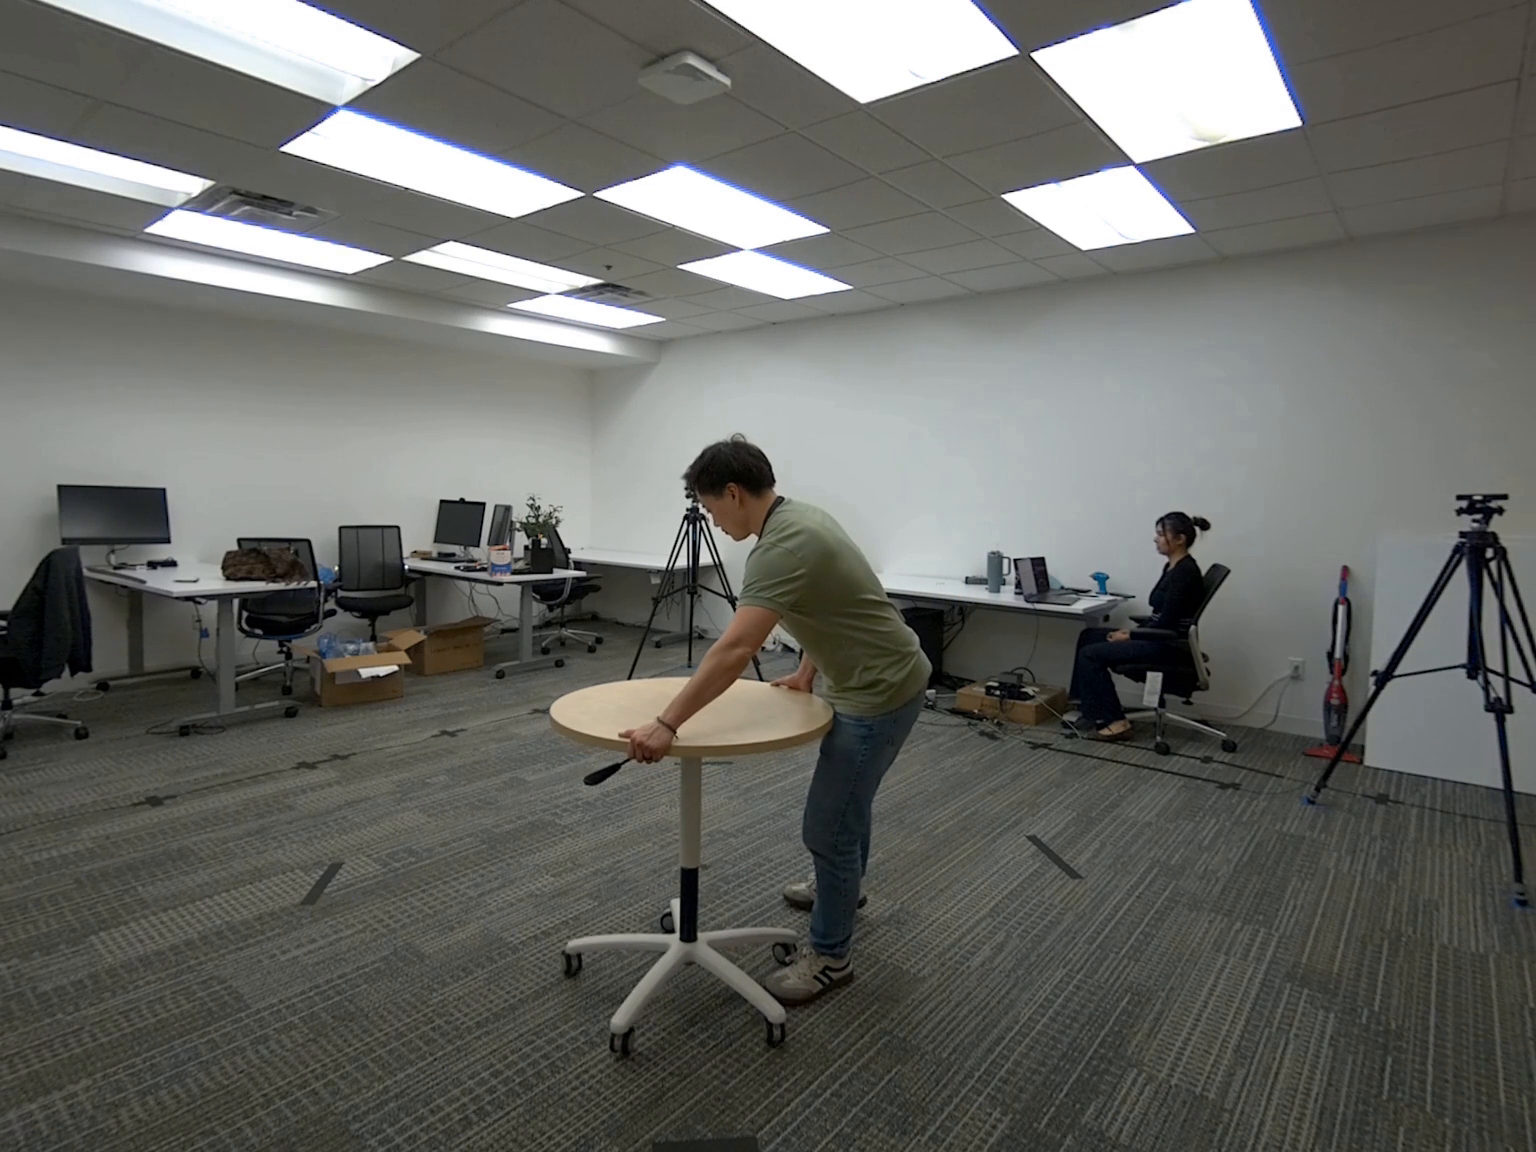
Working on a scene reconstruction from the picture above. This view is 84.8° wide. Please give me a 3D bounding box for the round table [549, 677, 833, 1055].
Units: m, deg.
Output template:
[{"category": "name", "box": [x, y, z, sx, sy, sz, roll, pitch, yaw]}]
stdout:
[{"category": "round table", "box": [-0.223, 0.747, 2.338, 0.763, 0.792, 0.767, 1, 4, -2]}]
